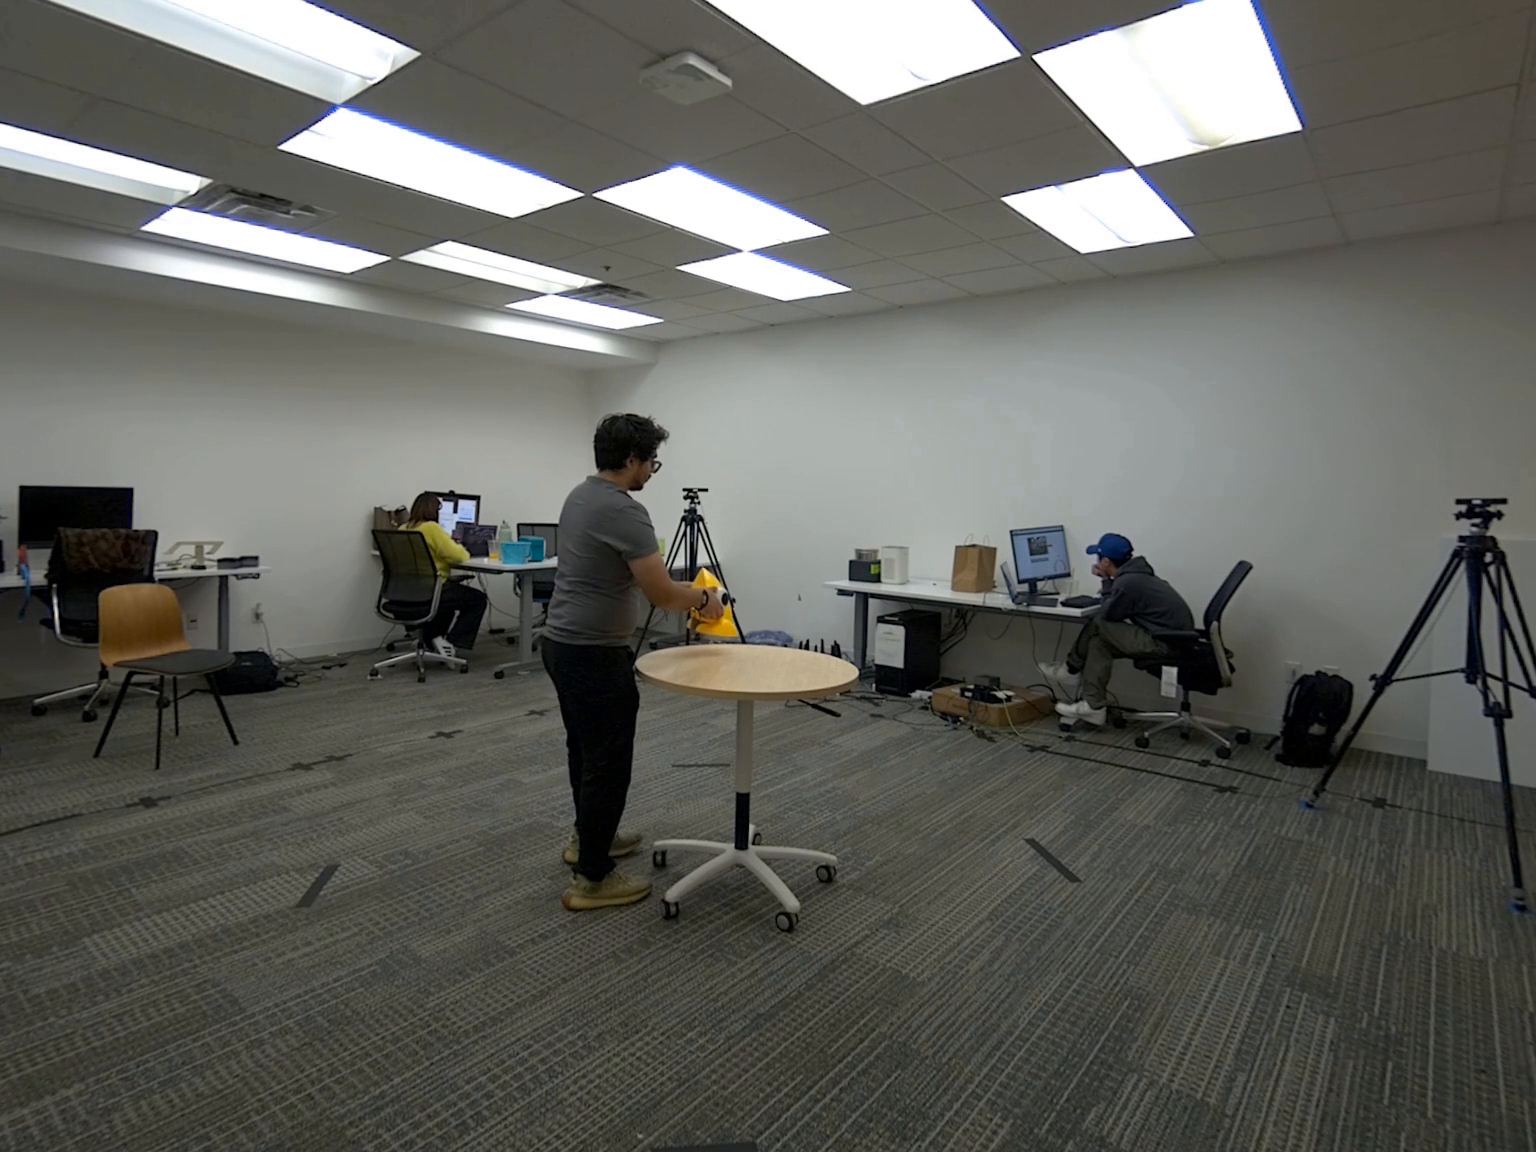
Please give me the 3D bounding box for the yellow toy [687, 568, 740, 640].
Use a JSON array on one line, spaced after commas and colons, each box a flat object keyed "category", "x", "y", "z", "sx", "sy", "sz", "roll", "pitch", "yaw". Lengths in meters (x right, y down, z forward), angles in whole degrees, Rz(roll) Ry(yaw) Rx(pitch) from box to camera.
[{"category": "yellow toy", "x": -0.217, "y": 0.082, "z": 3.140, "sx": 0.187, "sy": 0.230, "sz": 0.211, "roll": 5, "pitch": 2, "yaw": -31}]
